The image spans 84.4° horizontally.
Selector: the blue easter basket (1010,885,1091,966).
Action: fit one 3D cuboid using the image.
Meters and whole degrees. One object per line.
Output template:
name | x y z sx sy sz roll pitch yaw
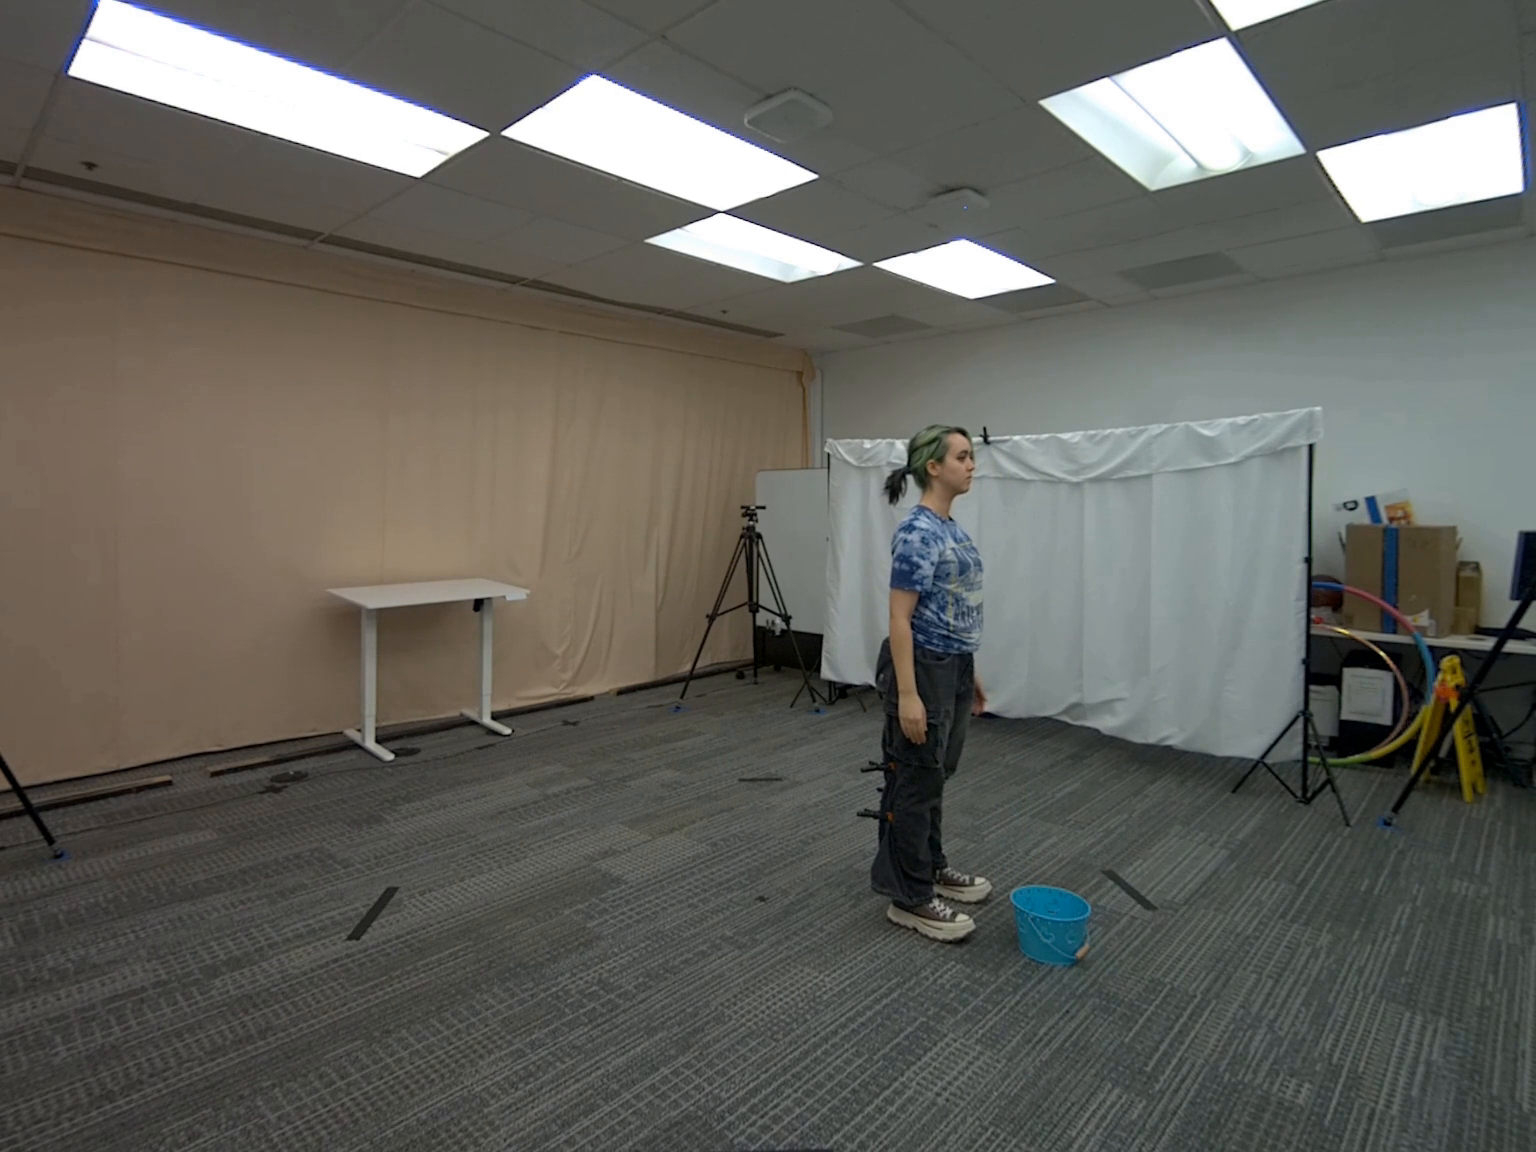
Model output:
blue easter basket | 0.889 1.094 2.625 0.243 0.155 0.244 -1 4 -2
